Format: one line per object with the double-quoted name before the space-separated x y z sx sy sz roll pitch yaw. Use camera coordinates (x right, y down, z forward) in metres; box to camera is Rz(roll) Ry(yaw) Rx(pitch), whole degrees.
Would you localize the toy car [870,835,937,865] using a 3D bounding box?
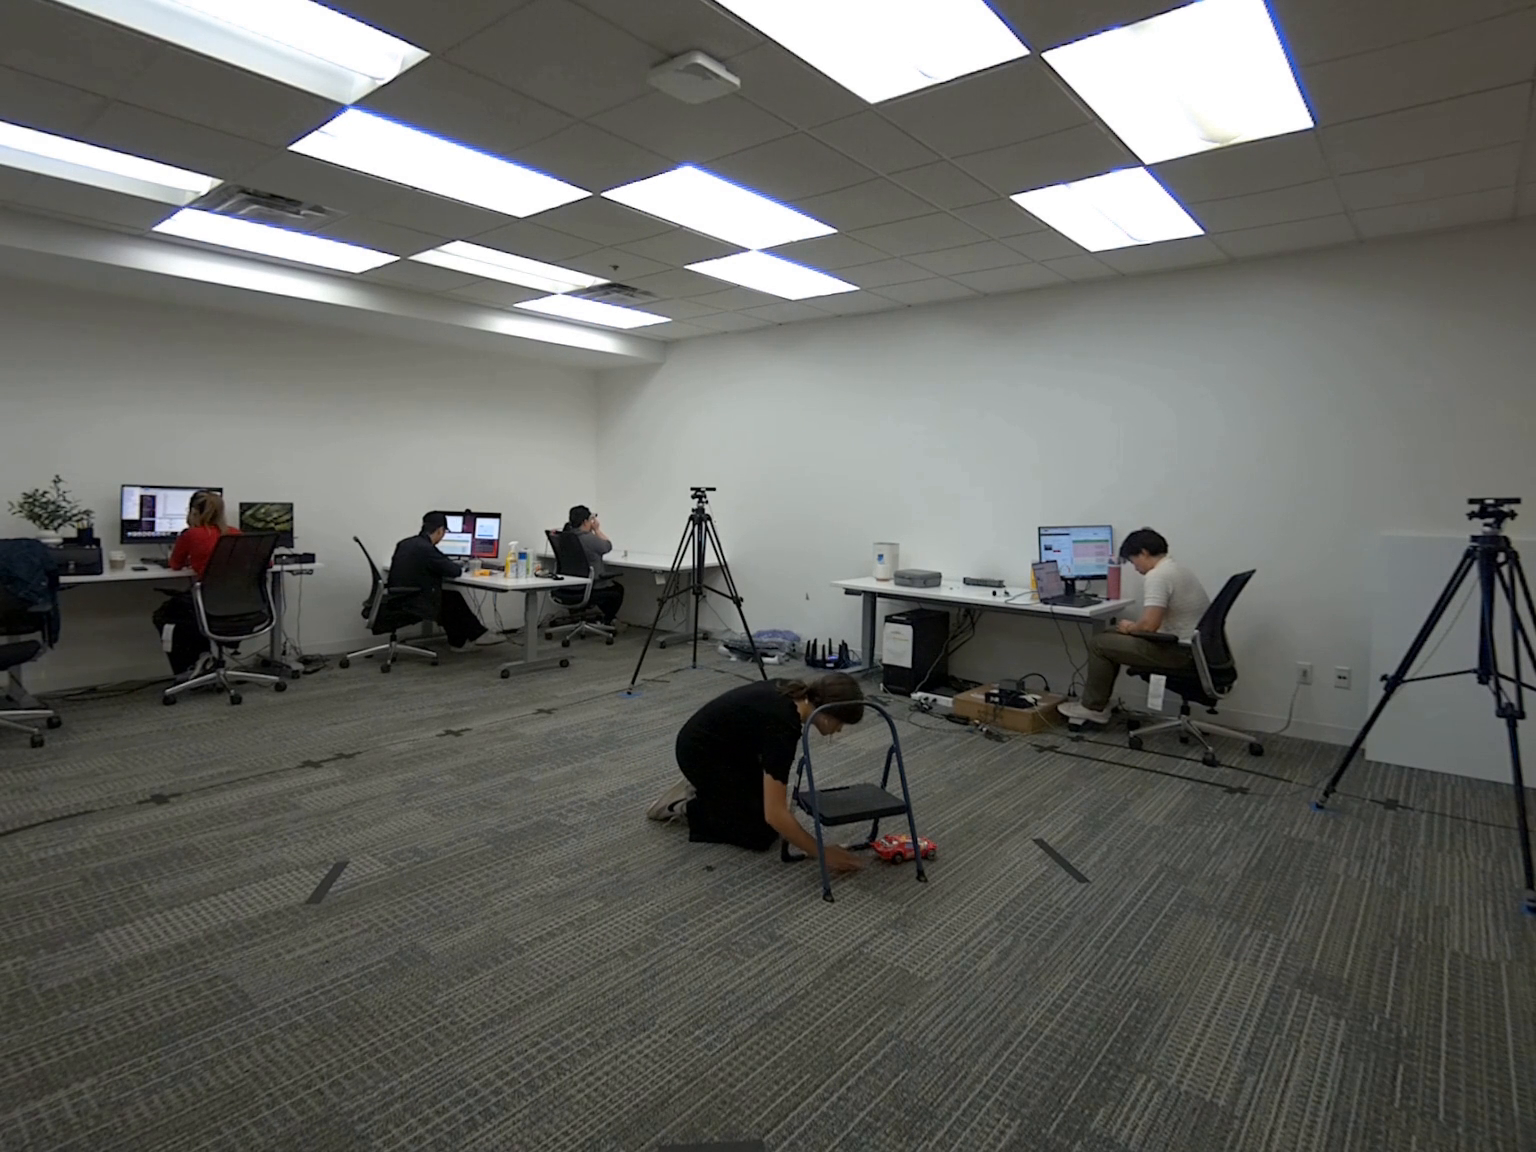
"toy car" 0.508 1.039 3.247 0.249 0.083 0.133 11 2 -20
